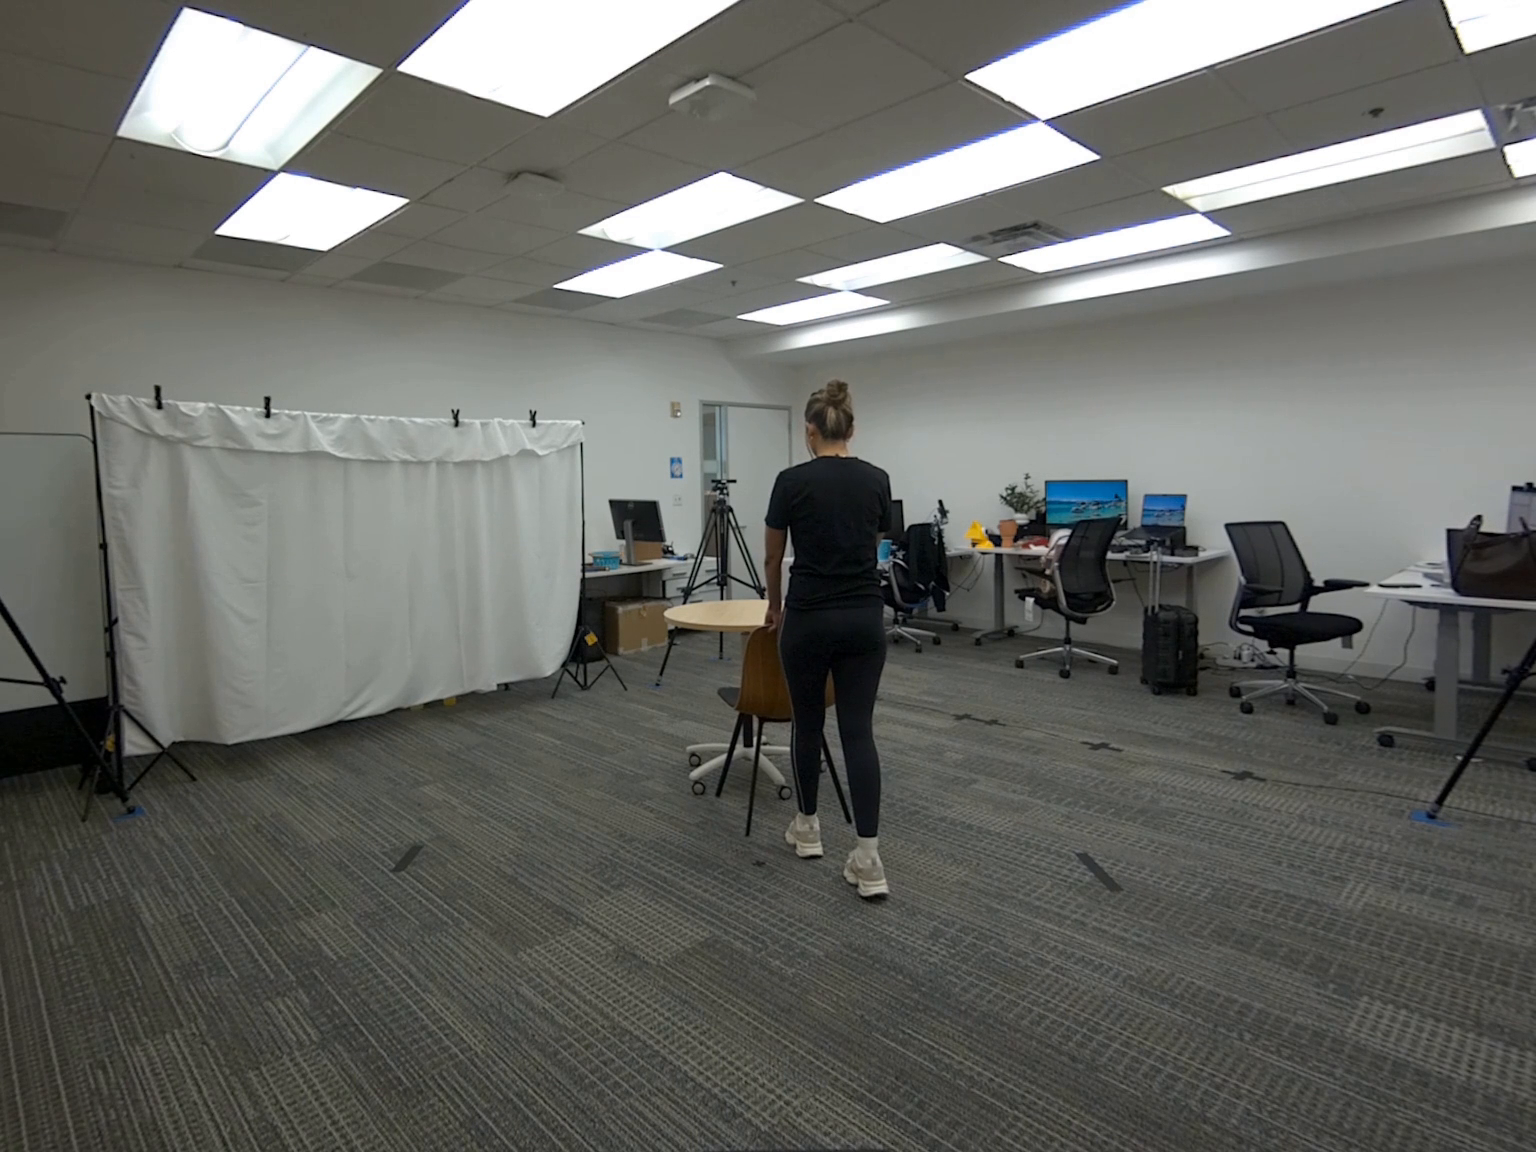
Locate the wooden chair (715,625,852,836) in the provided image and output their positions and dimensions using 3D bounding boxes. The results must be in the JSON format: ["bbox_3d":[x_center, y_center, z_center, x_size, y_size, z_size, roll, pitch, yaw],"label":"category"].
[{"bbox_3d":[0.048,0.564,3.588,0.471,0.871,0.535,-2,9,-17],"label":"wooden chair"}]
